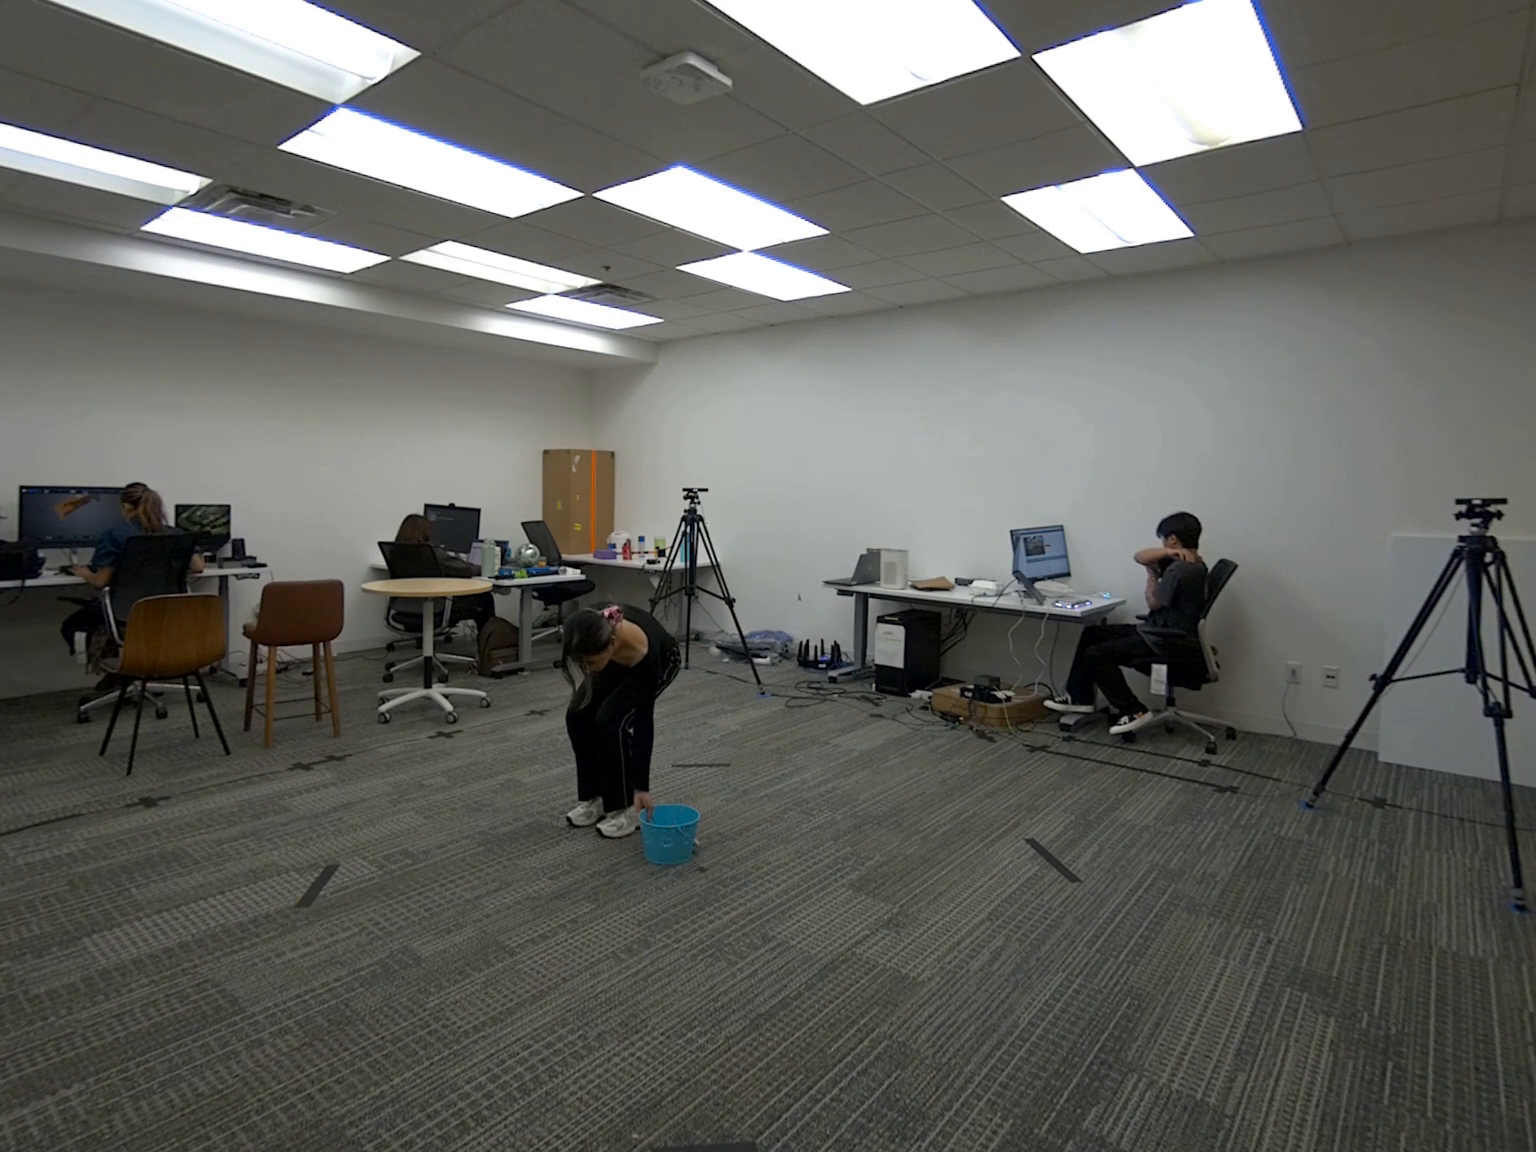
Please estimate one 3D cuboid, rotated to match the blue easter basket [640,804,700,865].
[{"bbox_3d":[-0.384,0.976,3.226,0.243,0.155,0.245,0,5,-2],"label":"blue easter basket"}]
